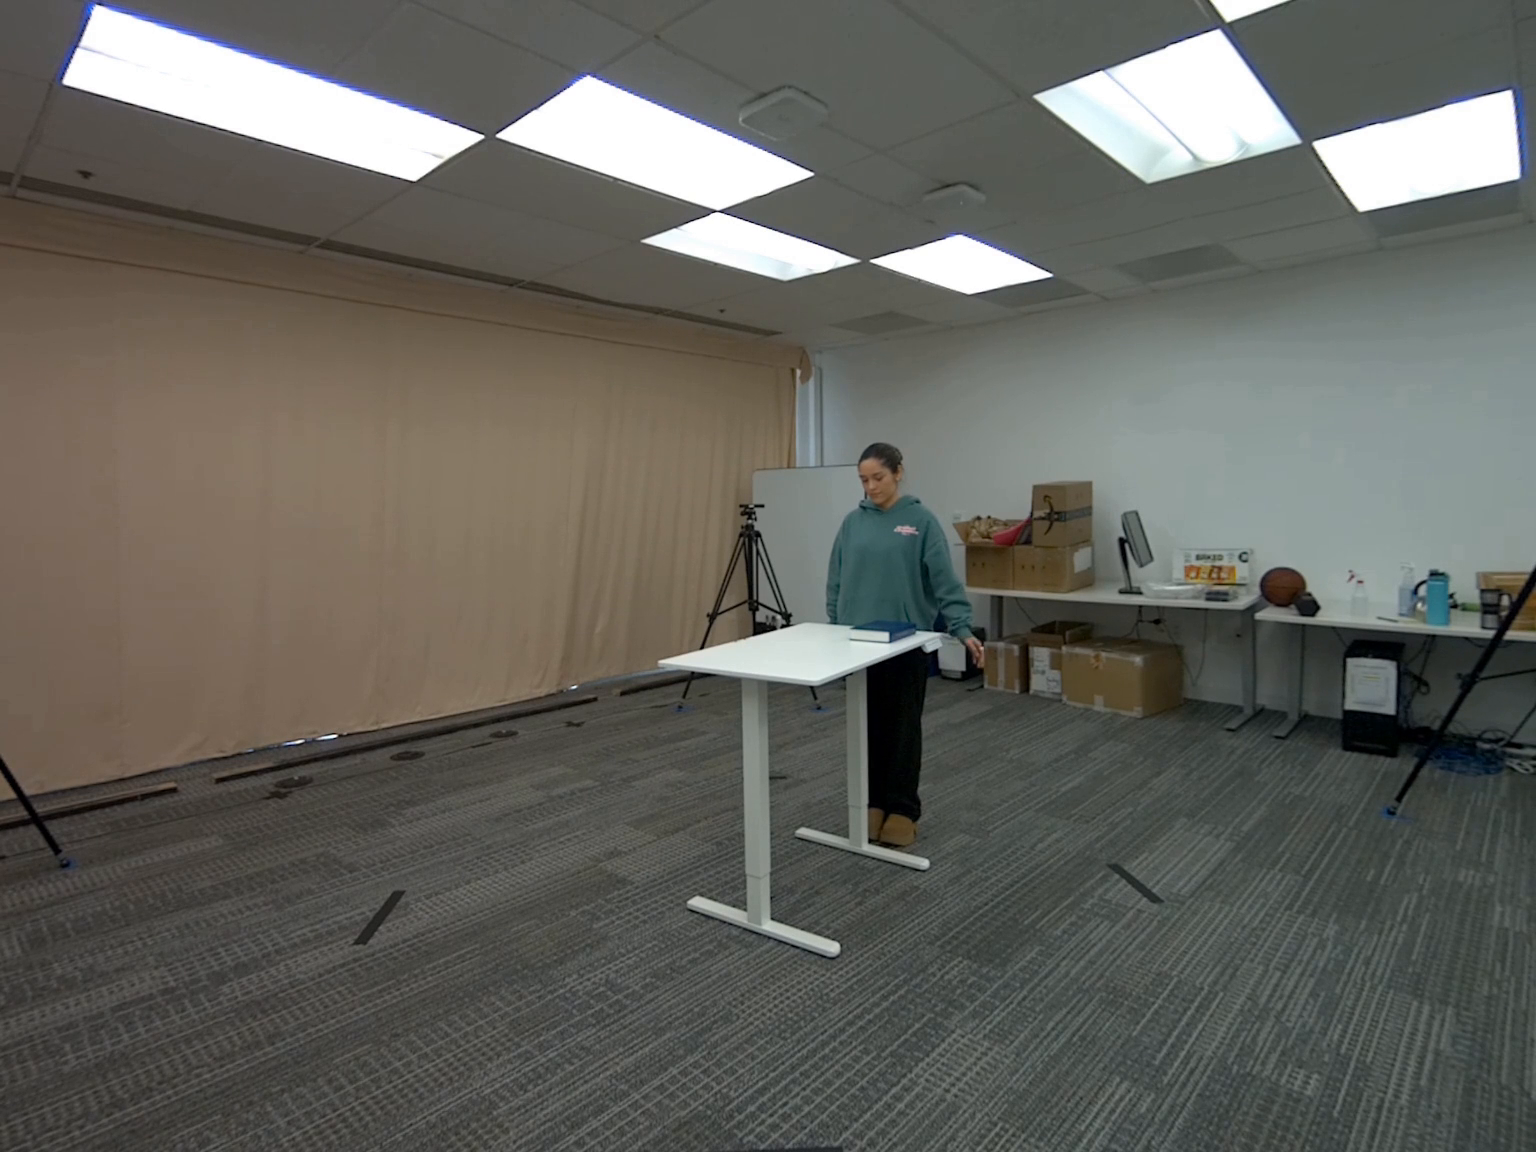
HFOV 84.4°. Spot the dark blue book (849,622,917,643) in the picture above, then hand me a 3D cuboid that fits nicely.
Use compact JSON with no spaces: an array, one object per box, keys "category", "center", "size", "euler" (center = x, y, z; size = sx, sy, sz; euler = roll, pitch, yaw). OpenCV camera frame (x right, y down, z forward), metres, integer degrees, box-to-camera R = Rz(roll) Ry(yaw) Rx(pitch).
[{"category":"dark blue book","center":[0.429,0.210,3.167],"size":[0.168,0.045,0.238],"euler":[4,7,31]}]
